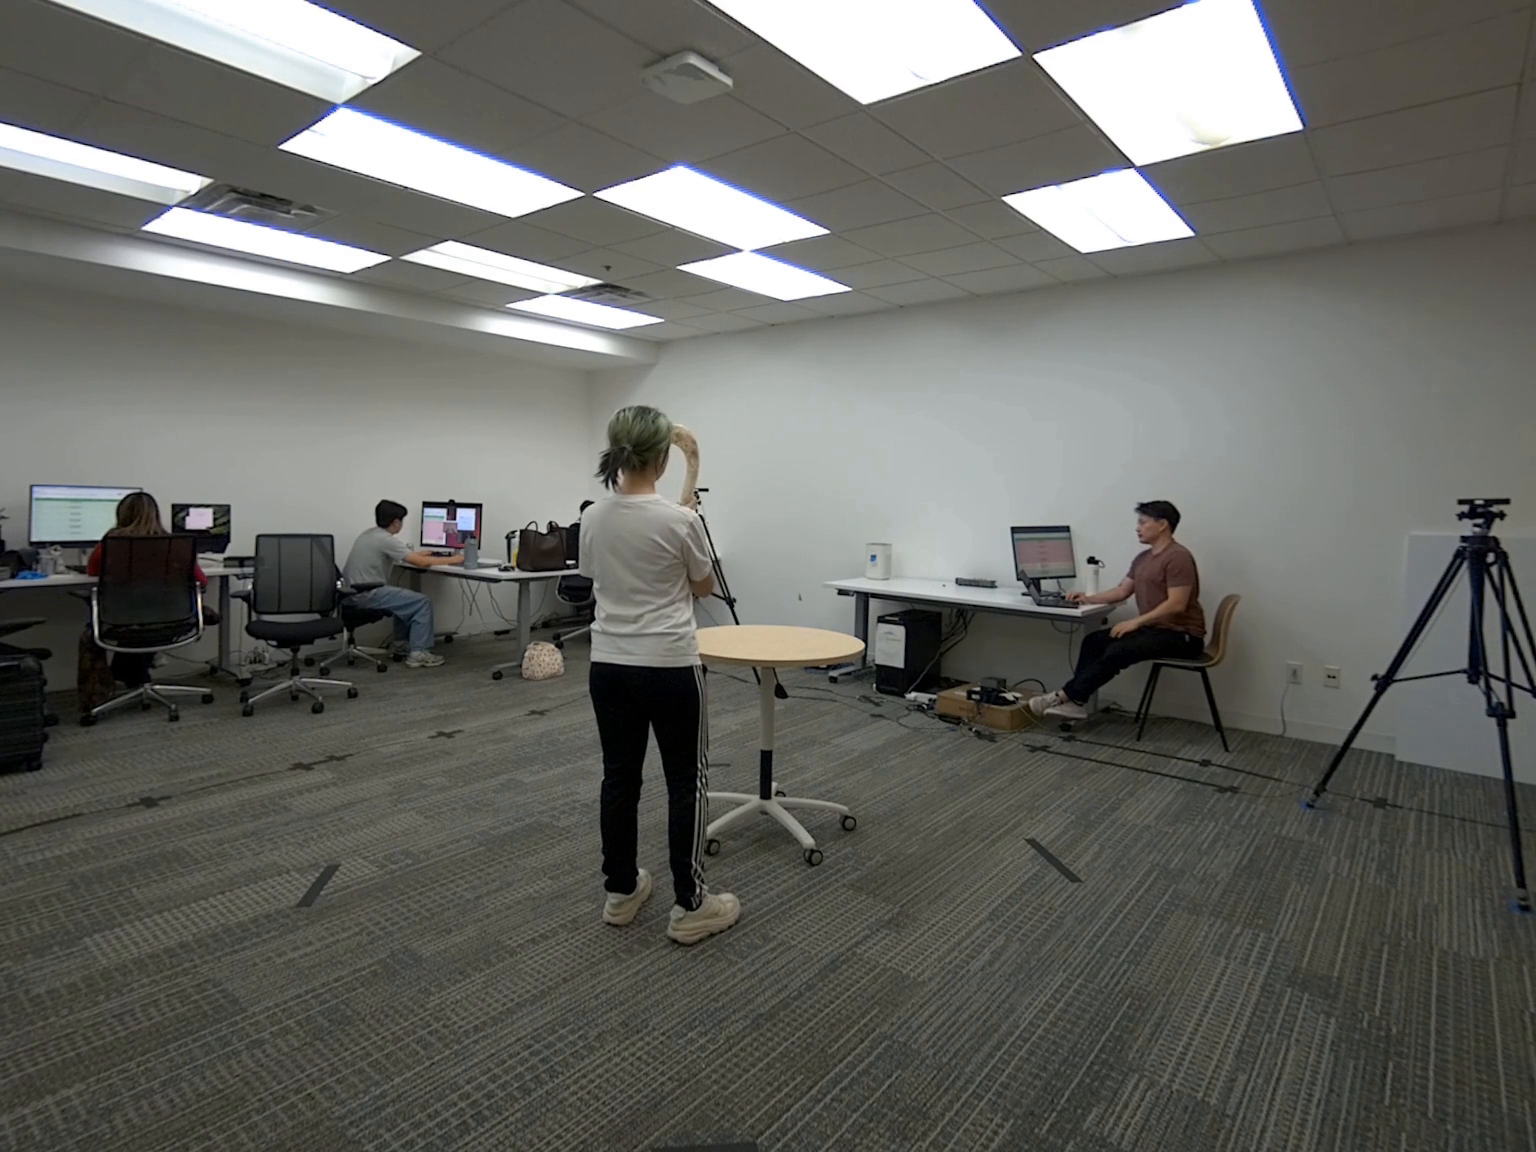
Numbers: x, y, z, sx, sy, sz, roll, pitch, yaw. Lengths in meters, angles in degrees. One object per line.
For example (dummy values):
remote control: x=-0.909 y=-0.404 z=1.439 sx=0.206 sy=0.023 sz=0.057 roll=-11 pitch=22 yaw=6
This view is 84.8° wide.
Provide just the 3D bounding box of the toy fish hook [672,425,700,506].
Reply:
toy fish hook: x=-0.340 y=-0.273 z=2.939 sx=0.220 sy=0.505 sz=0.049 roll=-3 pitch=3 yaw=-20
